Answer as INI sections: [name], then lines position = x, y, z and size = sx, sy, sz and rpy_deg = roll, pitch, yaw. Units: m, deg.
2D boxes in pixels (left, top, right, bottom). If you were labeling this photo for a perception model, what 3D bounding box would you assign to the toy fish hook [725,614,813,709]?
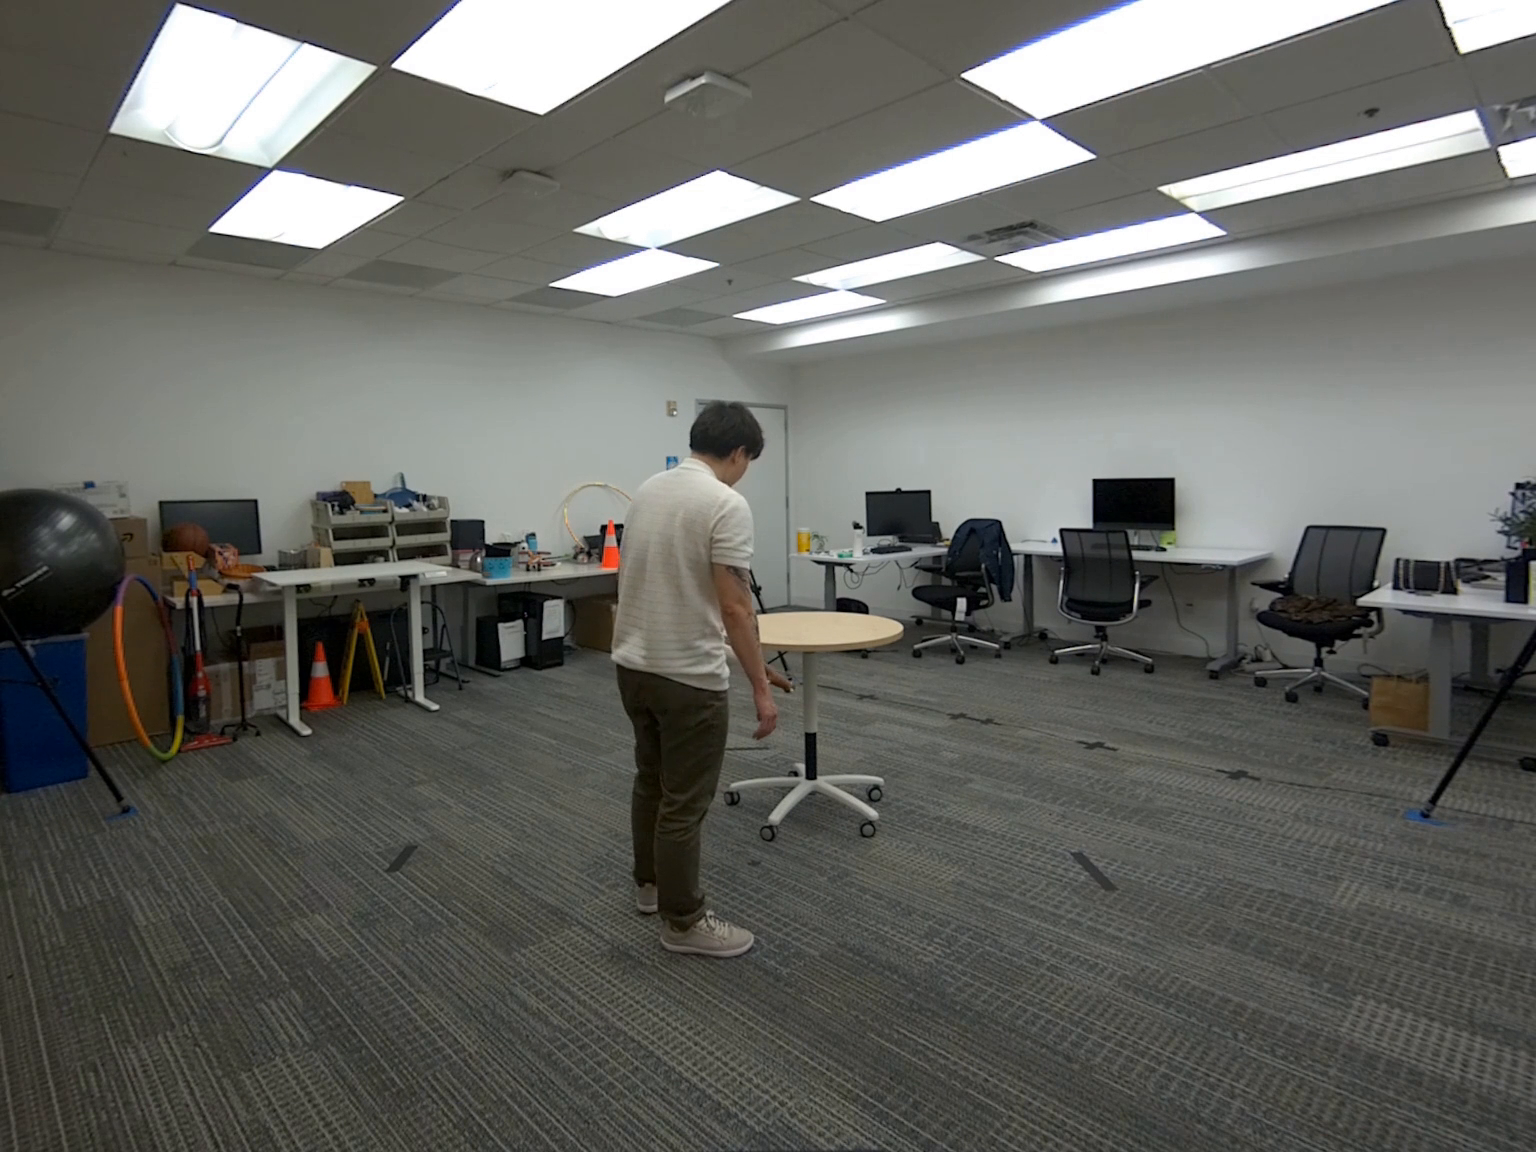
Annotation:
[toy fish hook]
position = -0.080, 0.234, 3.021
size = 0.496, 0.227, 0.048
rpy_deg = 35, -39, -16
